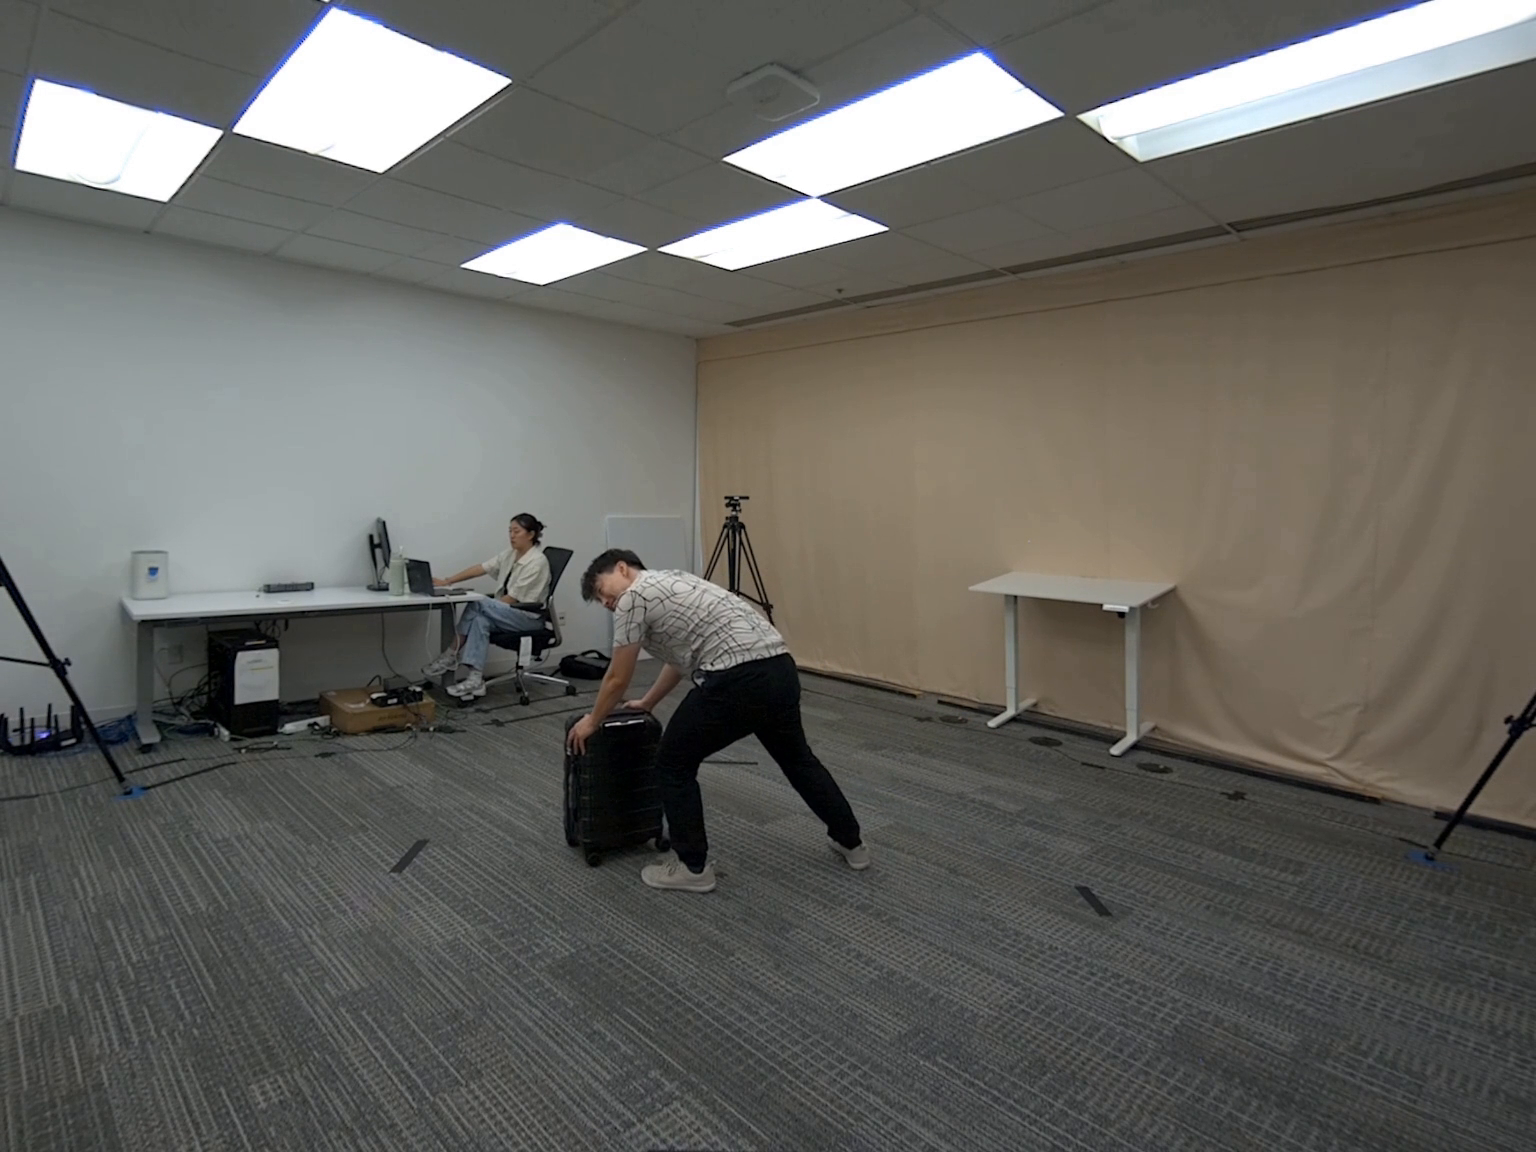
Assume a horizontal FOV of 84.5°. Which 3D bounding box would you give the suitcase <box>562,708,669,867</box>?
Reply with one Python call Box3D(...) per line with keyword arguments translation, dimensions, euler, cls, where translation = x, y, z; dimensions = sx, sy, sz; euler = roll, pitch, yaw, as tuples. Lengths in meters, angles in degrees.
Box3D(translation=(-0.615, 0.801, 3.302), dimensions=(0.368, 0.547, 0.254), euler=(-3, 5, -29), cls="suitcase")
